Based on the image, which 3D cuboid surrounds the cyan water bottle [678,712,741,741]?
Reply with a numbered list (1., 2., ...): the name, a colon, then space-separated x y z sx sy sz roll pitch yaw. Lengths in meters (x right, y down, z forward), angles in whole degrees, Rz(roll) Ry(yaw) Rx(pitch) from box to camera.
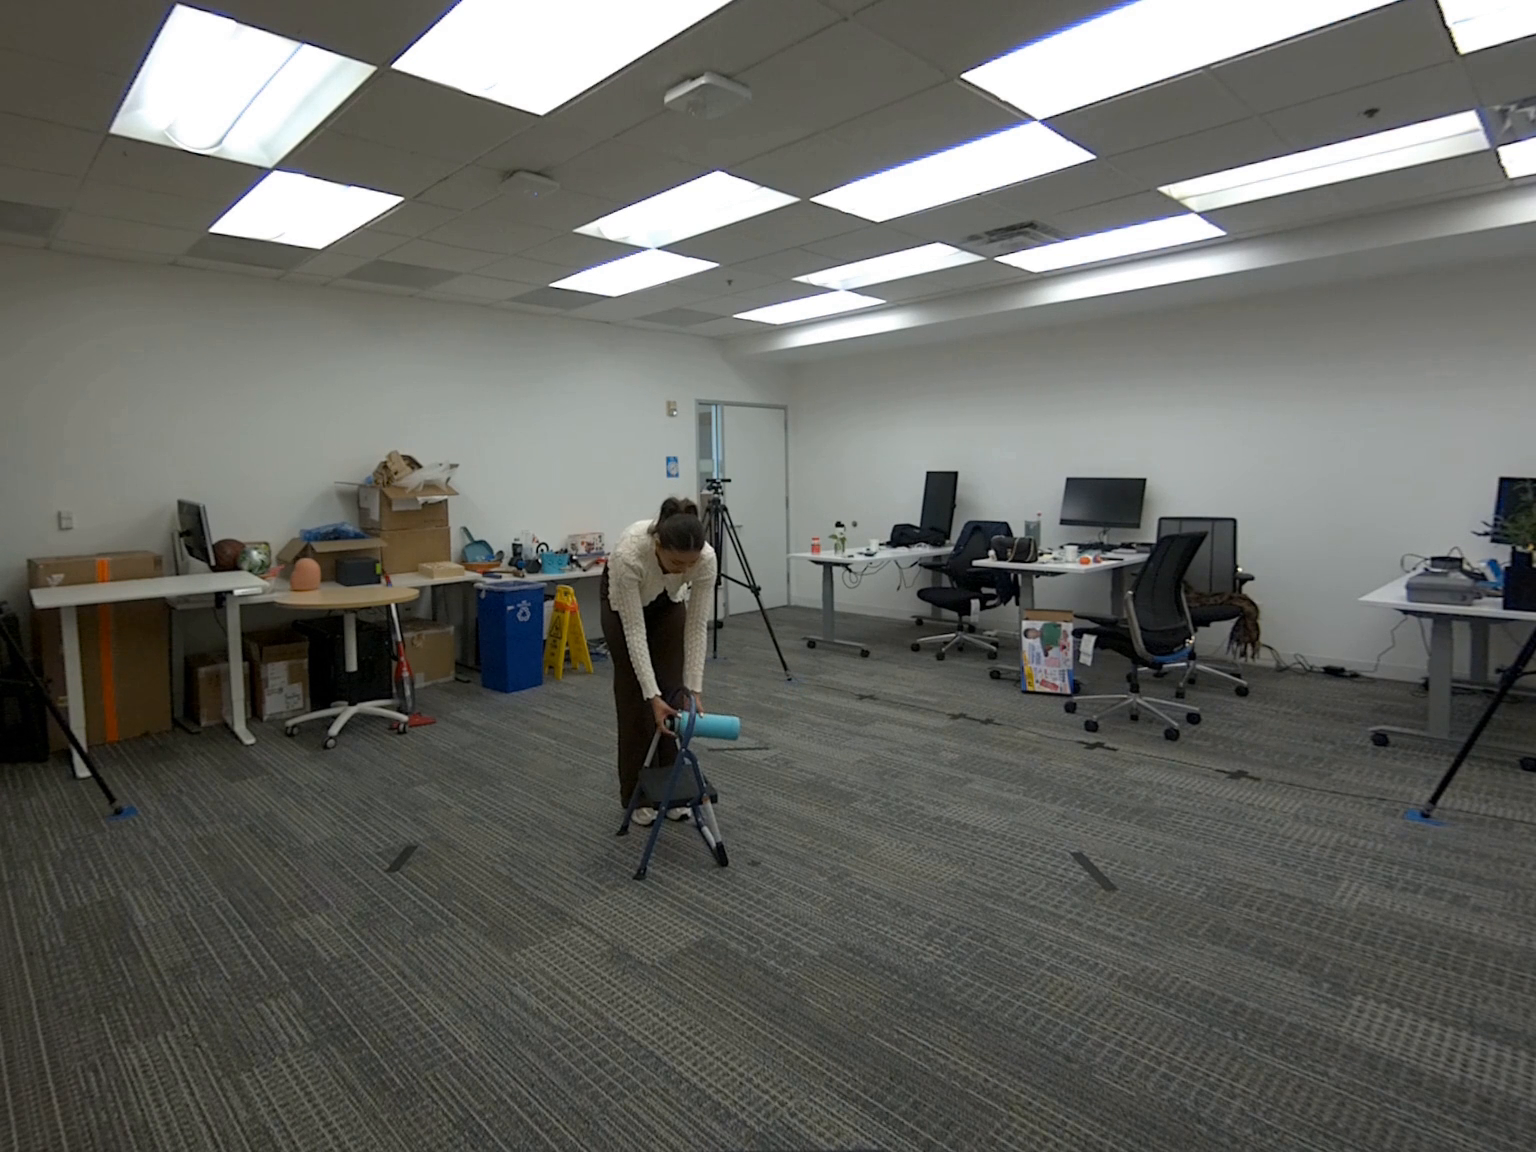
1. cyan water bottle: -0.259 0.572 3.262 0.281 0.092 0.093 7 4 -7
